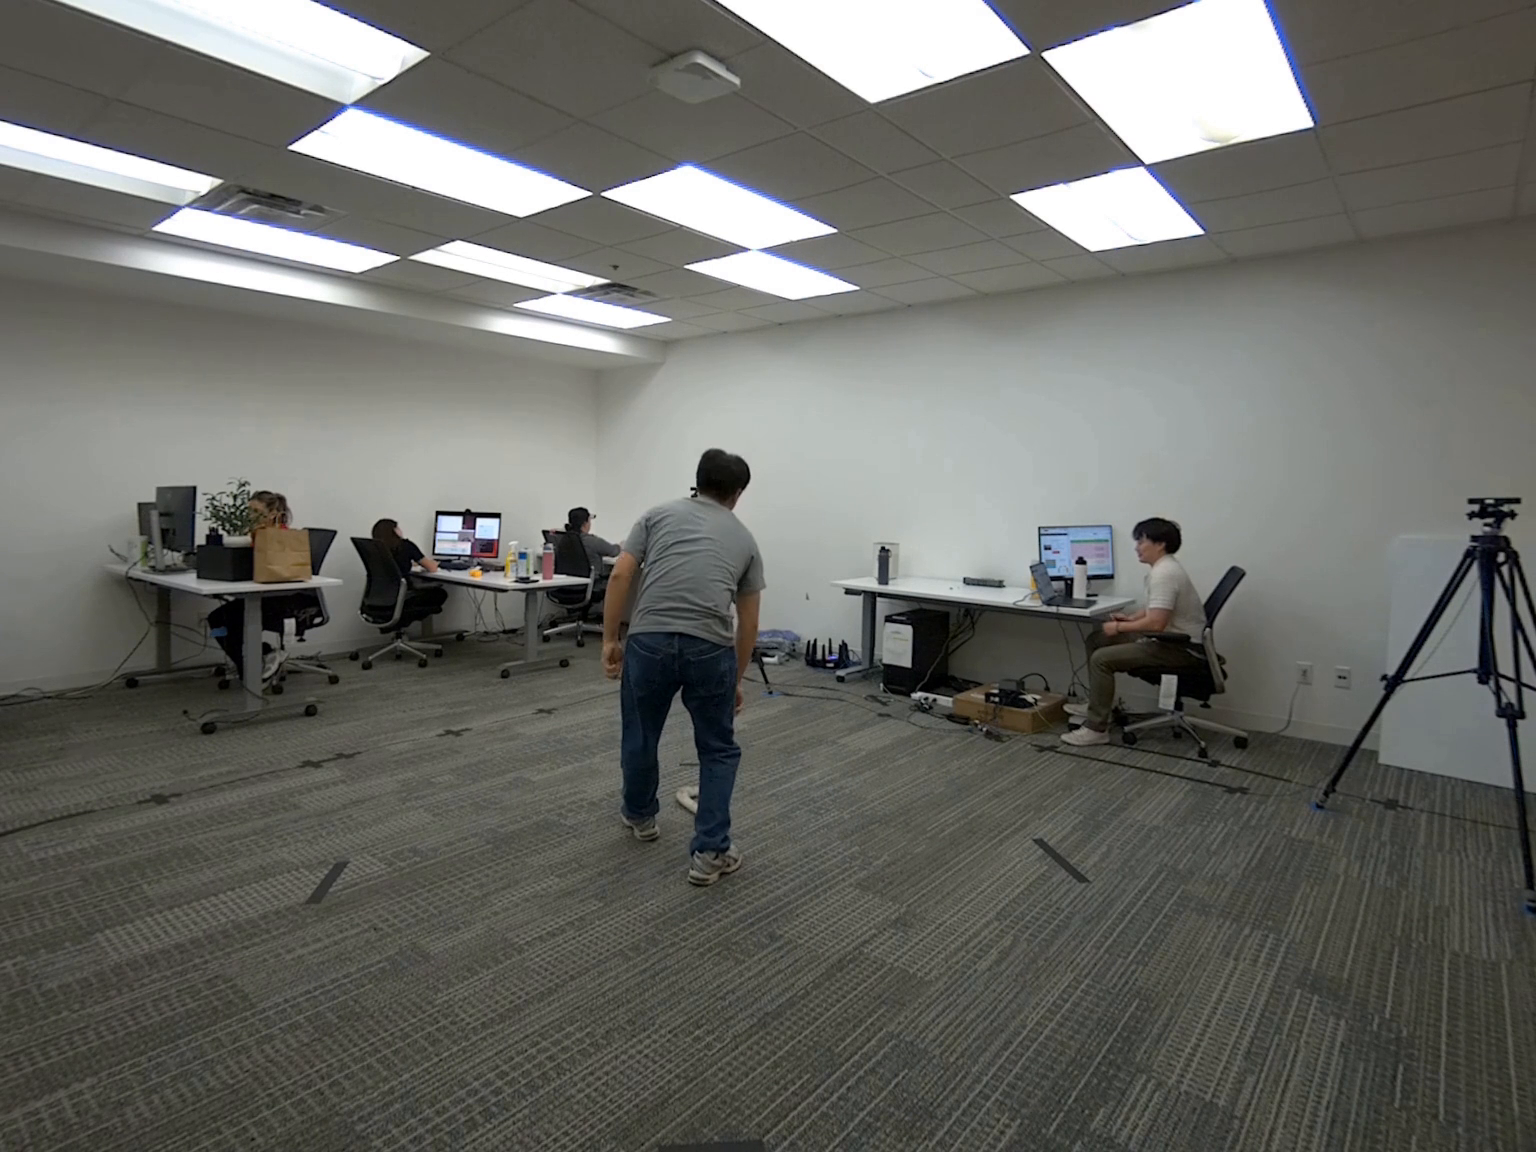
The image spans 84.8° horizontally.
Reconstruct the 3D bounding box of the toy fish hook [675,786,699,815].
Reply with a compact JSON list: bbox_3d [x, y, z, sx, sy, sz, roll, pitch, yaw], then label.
[{"bbox_3d":[-0.261,0.982,3.632,0.221,0.048,0.517,-2,7,-16],"label":"toy fish hook"}]
